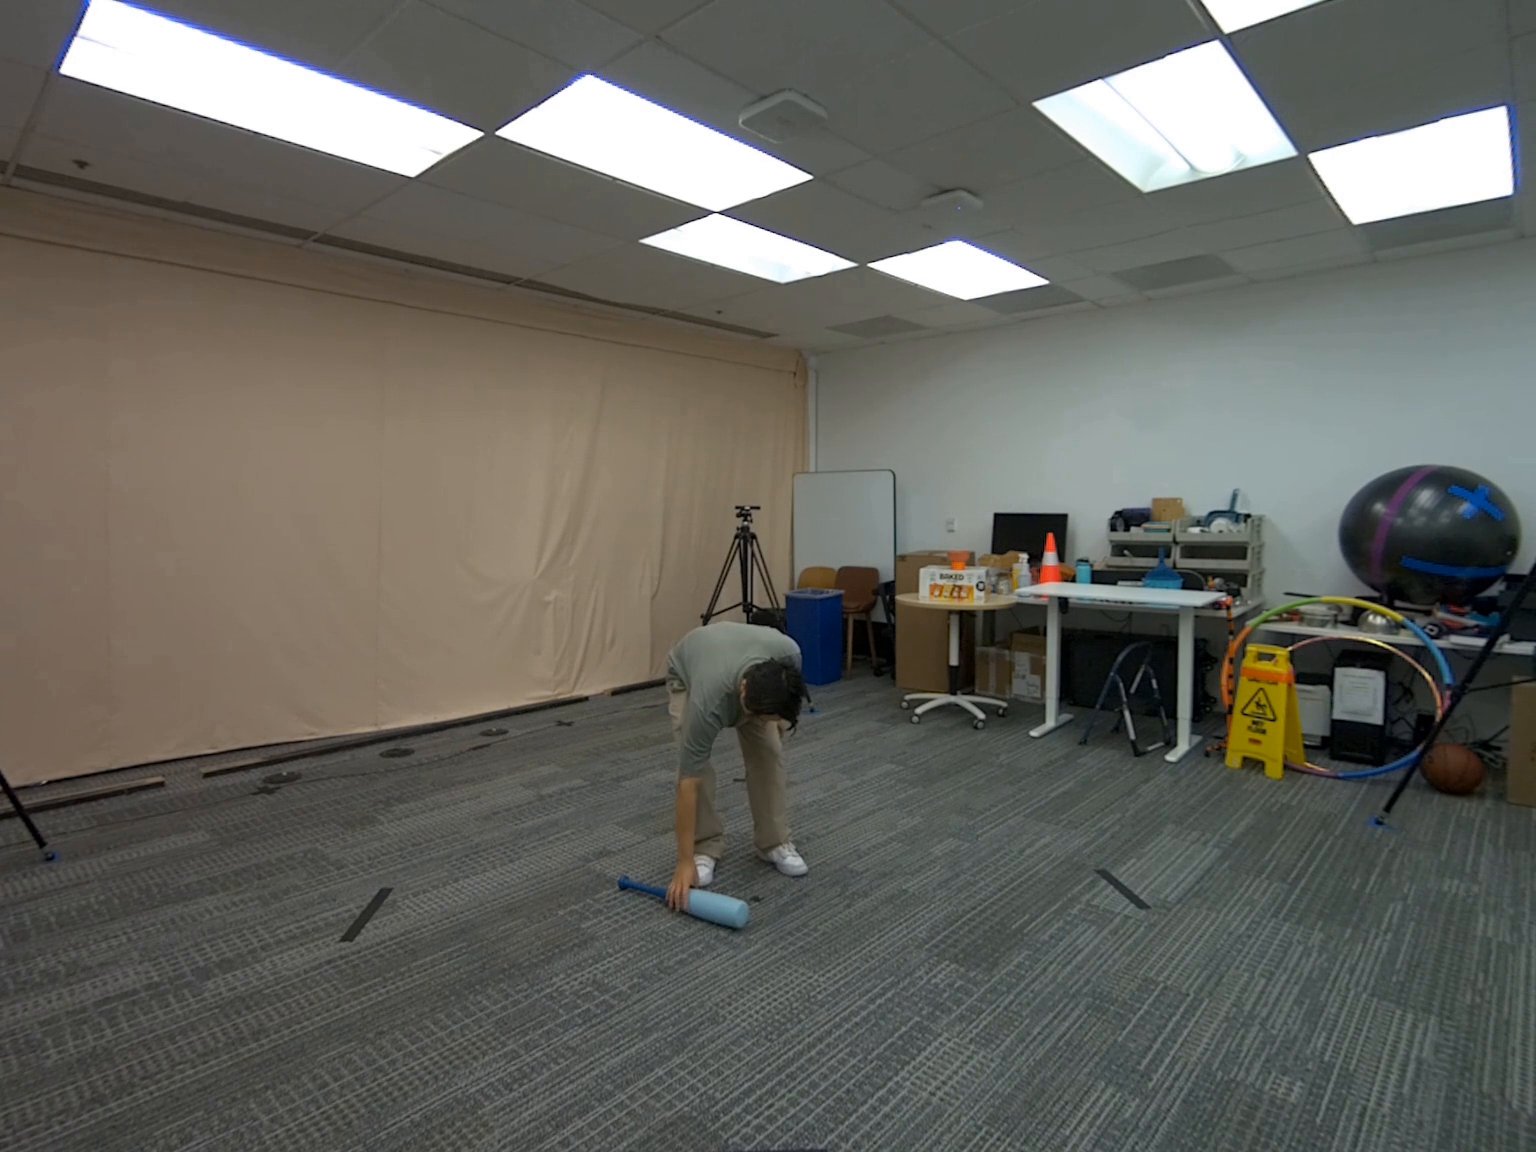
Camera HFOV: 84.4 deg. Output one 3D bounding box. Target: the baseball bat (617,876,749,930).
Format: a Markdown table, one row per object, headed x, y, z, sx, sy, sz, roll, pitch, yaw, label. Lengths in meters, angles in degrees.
| x | y | z | sx | sy | sz | roll | pitch | yaw | label |
| --- | --- | --- | --- | --- | --- | --- | --- | --- | --- |
| -0.304 | 1.121 | 2.909 | 0.559 | 0.089 | 0.086 | -2 | 2 | 36 | baseball bat |
